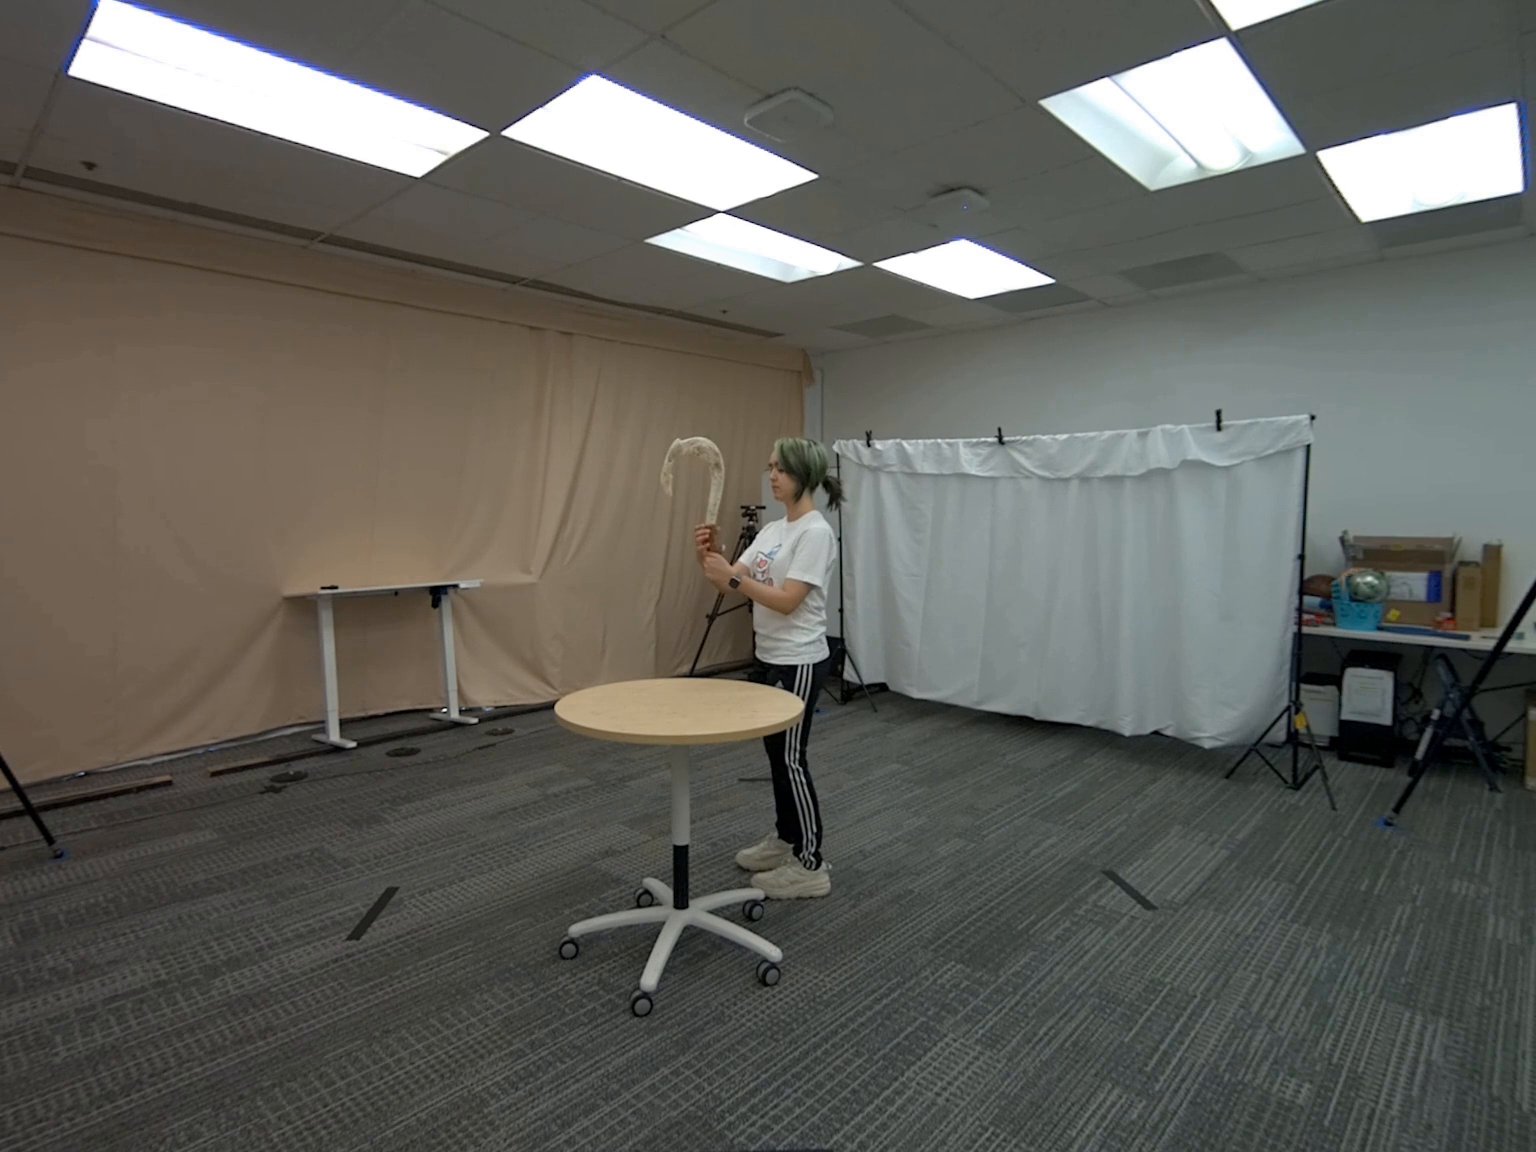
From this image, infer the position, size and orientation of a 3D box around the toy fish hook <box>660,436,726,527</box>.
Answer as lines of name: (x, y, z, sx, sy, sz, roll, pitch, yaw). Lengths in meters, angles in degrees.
toy fish hook: (-0.266, -0.229, 2.955, 0.222, 0.505, 0.049, -5, 5, -9)
